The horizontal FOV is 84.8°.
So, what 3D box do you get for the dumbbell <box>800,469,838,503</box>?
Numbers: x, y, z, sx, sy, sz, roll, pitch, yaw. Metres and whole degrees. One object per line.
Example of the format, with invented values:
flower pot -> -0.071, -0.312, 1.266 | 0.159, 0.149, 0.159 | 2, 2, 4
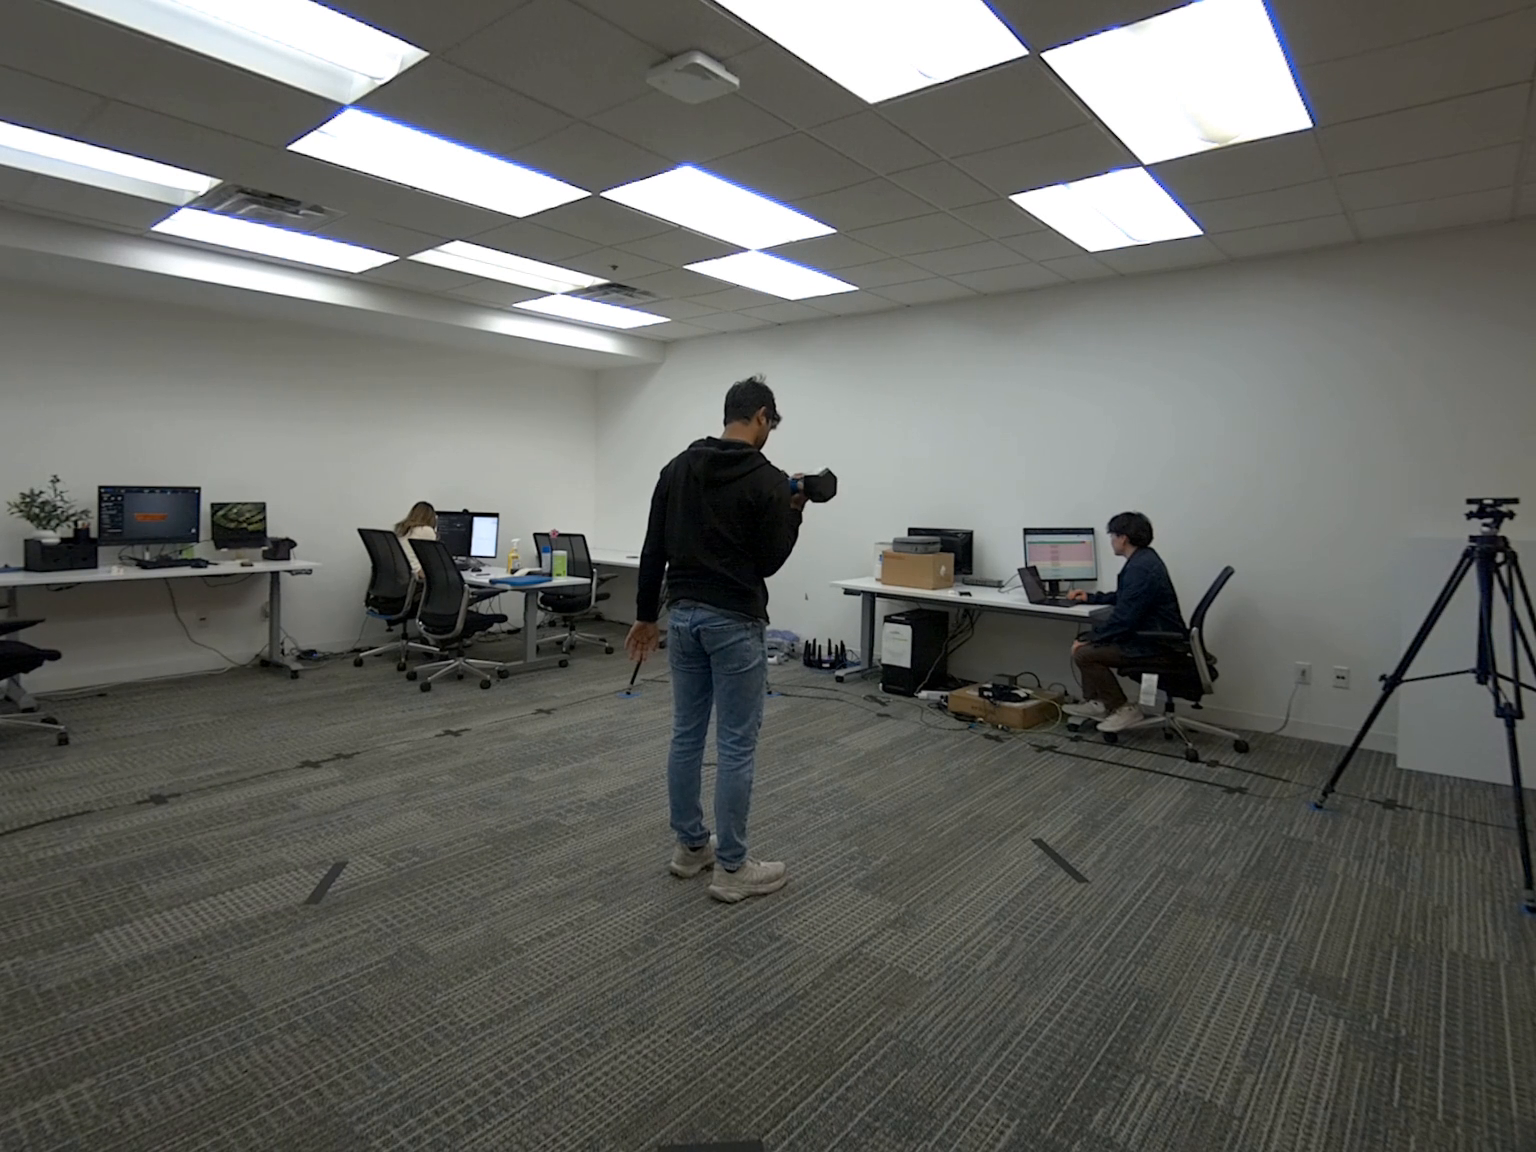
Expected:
dumbbell -> 0.105, -0.309, 3.032 | 0.105, 0.123, 0.303 | 4, -1, -45
